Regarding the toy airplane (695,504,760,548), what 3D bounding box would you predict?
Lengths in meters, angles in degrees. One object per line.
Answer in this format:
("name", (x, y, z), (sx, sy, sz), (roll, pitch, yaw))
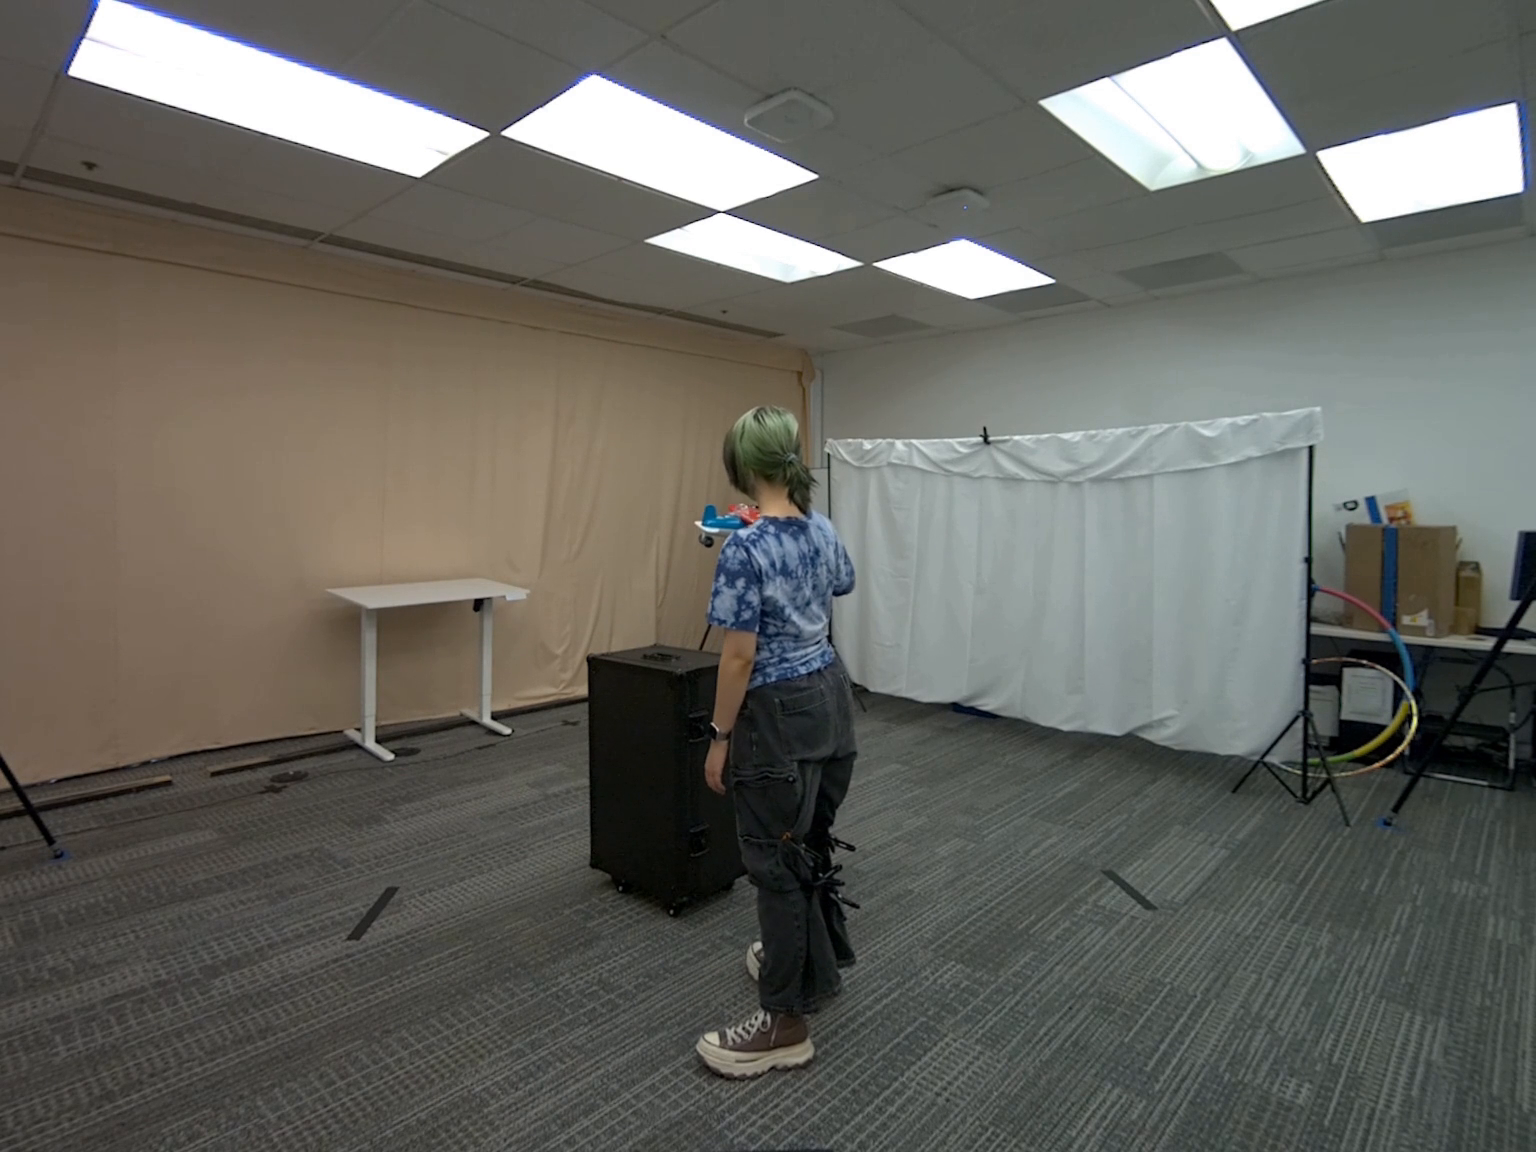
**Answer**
("toy airplane", (-0.083, -0.137, 2.652), (0.260, 0.156, 0.251), (28, 12, 35))
